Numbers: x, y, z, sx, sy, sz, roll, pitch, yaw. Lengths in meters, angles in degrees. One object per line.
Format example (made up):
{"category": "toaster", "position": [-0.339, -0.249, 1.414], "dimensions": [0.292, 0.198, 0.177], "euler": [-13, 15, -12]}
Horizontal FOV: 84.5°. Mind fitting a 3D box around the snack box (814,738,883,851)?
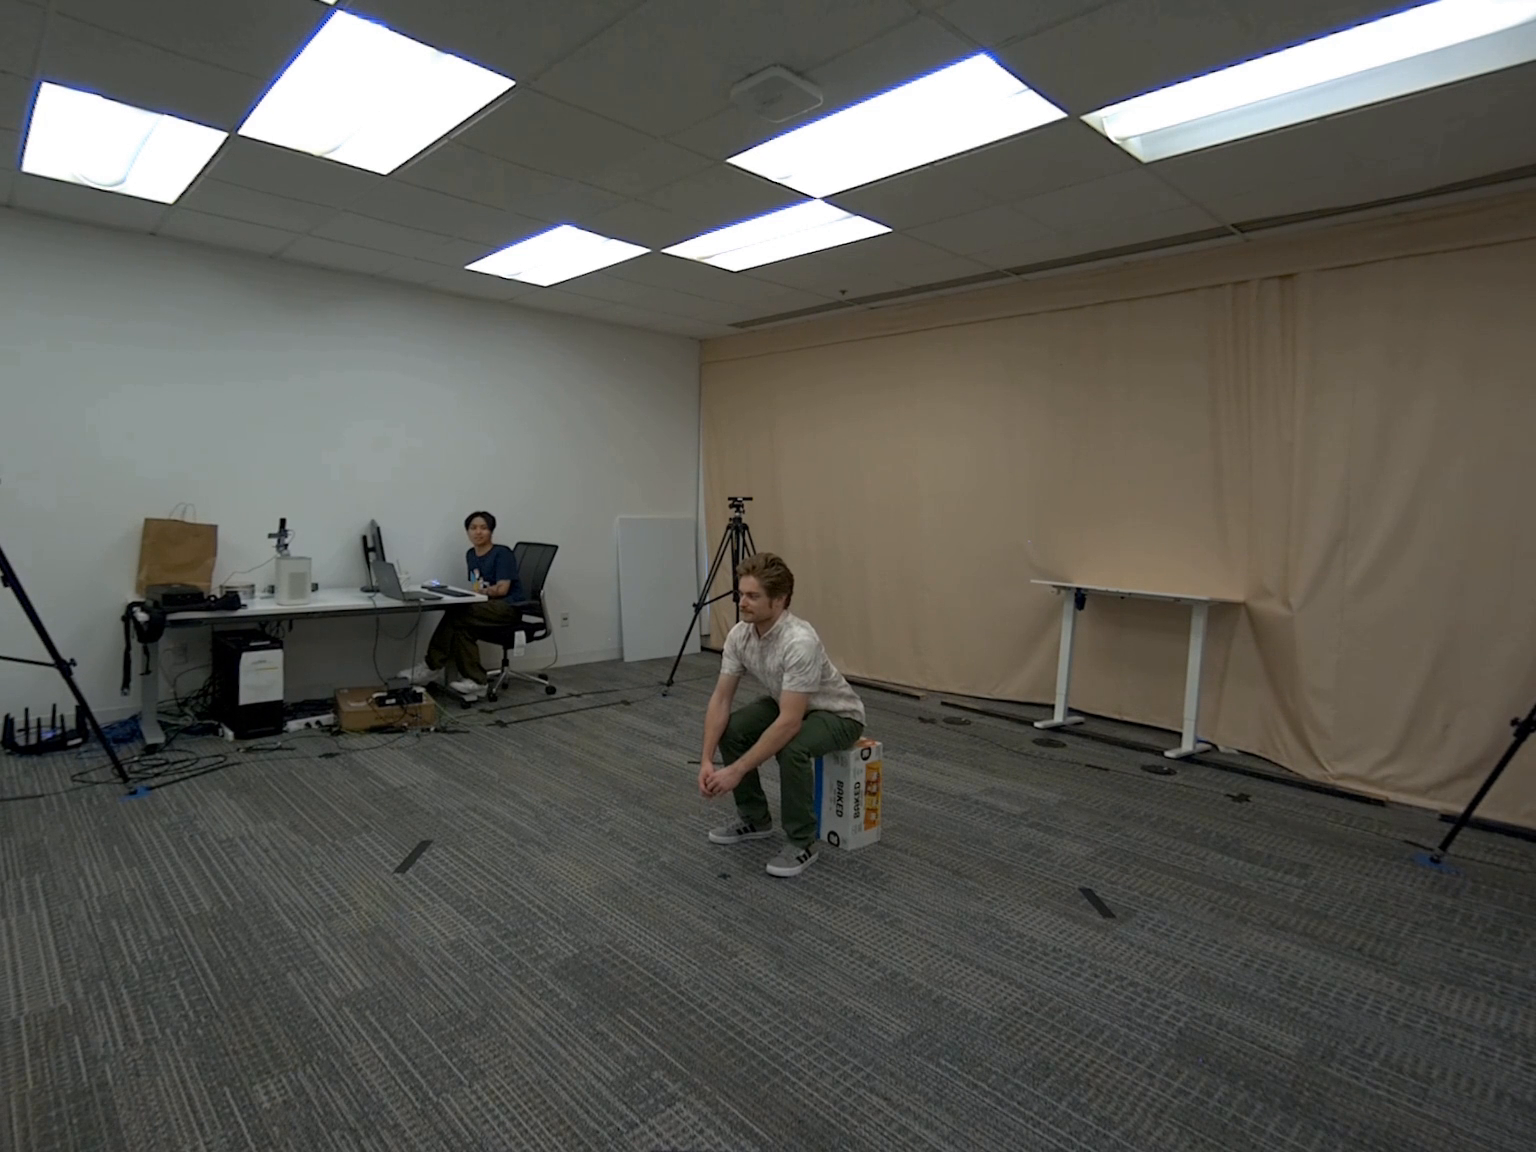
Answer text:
{"category": "snack box", "position": [0.276, 0.880, 3.538], "dimensions": [0.201, 0.404, 0.349], "euler": [-2, 4, -41]}
